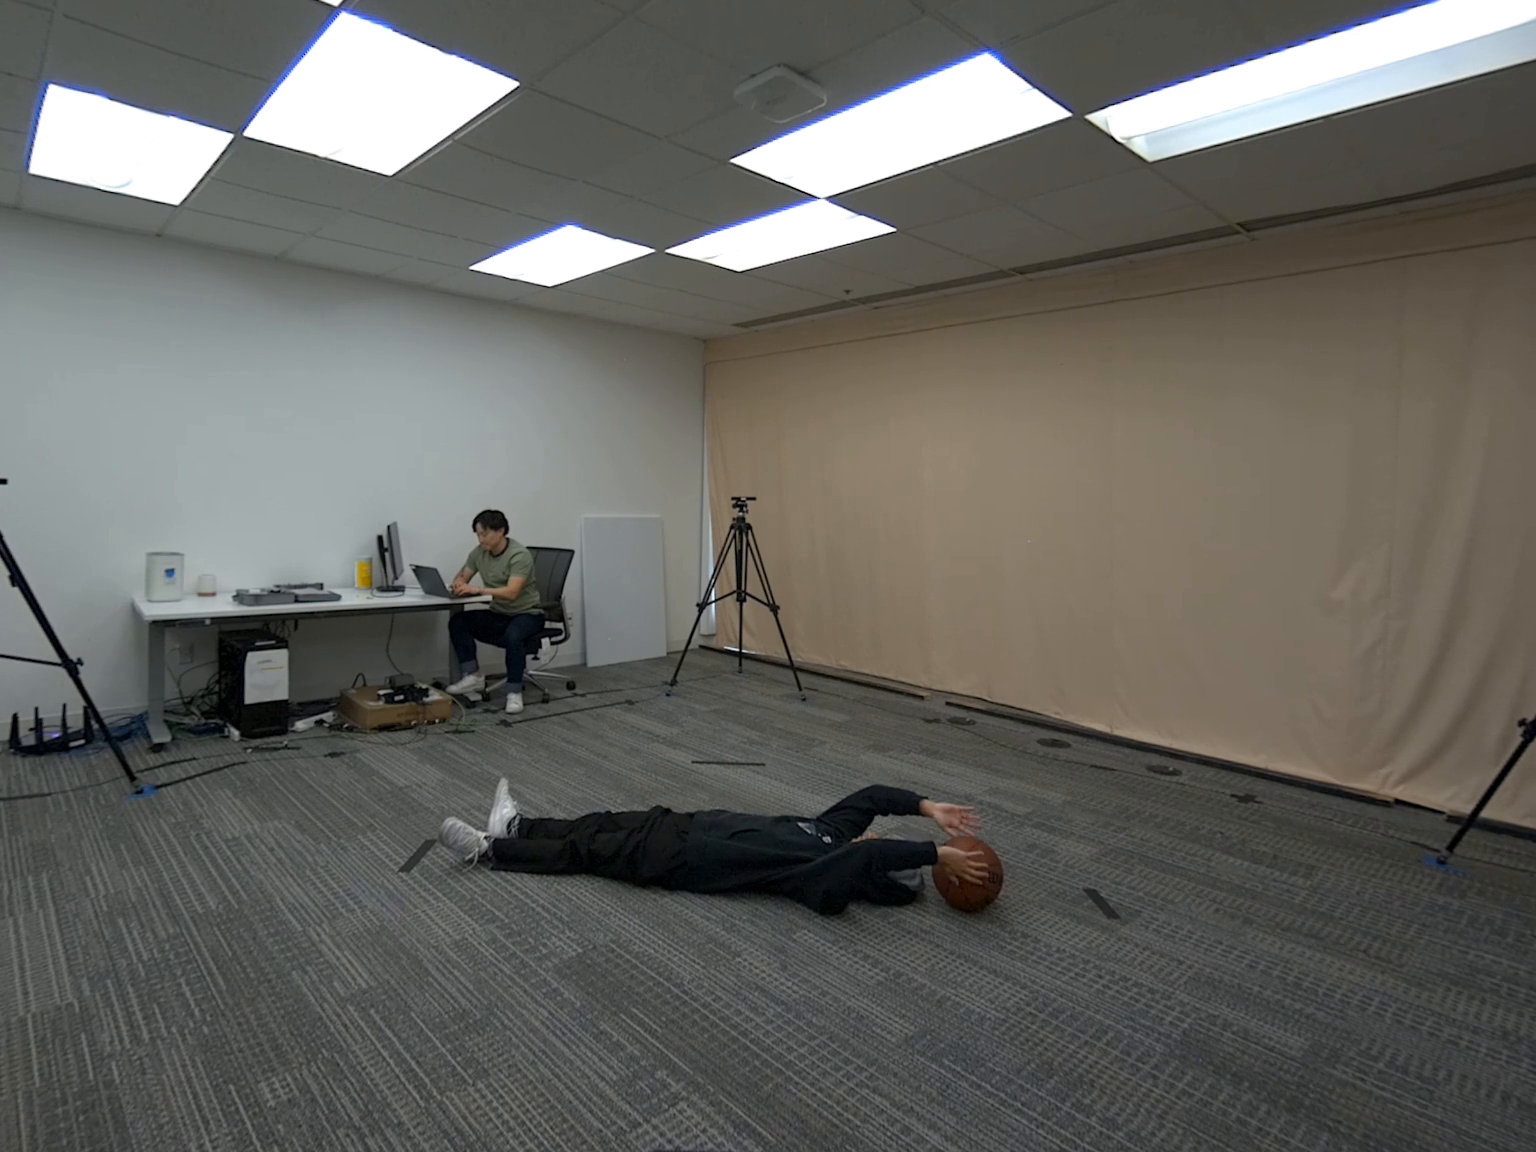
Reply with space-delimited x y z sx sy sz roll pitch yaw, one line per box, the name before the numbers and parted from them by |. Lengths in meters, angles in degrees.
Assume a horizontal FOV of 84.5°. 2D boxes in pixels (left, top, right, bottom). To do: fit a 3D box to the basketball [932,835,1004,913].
basketball | 0.678 1.022 2.908 0.236 0.235 0.237 1 4 -1
